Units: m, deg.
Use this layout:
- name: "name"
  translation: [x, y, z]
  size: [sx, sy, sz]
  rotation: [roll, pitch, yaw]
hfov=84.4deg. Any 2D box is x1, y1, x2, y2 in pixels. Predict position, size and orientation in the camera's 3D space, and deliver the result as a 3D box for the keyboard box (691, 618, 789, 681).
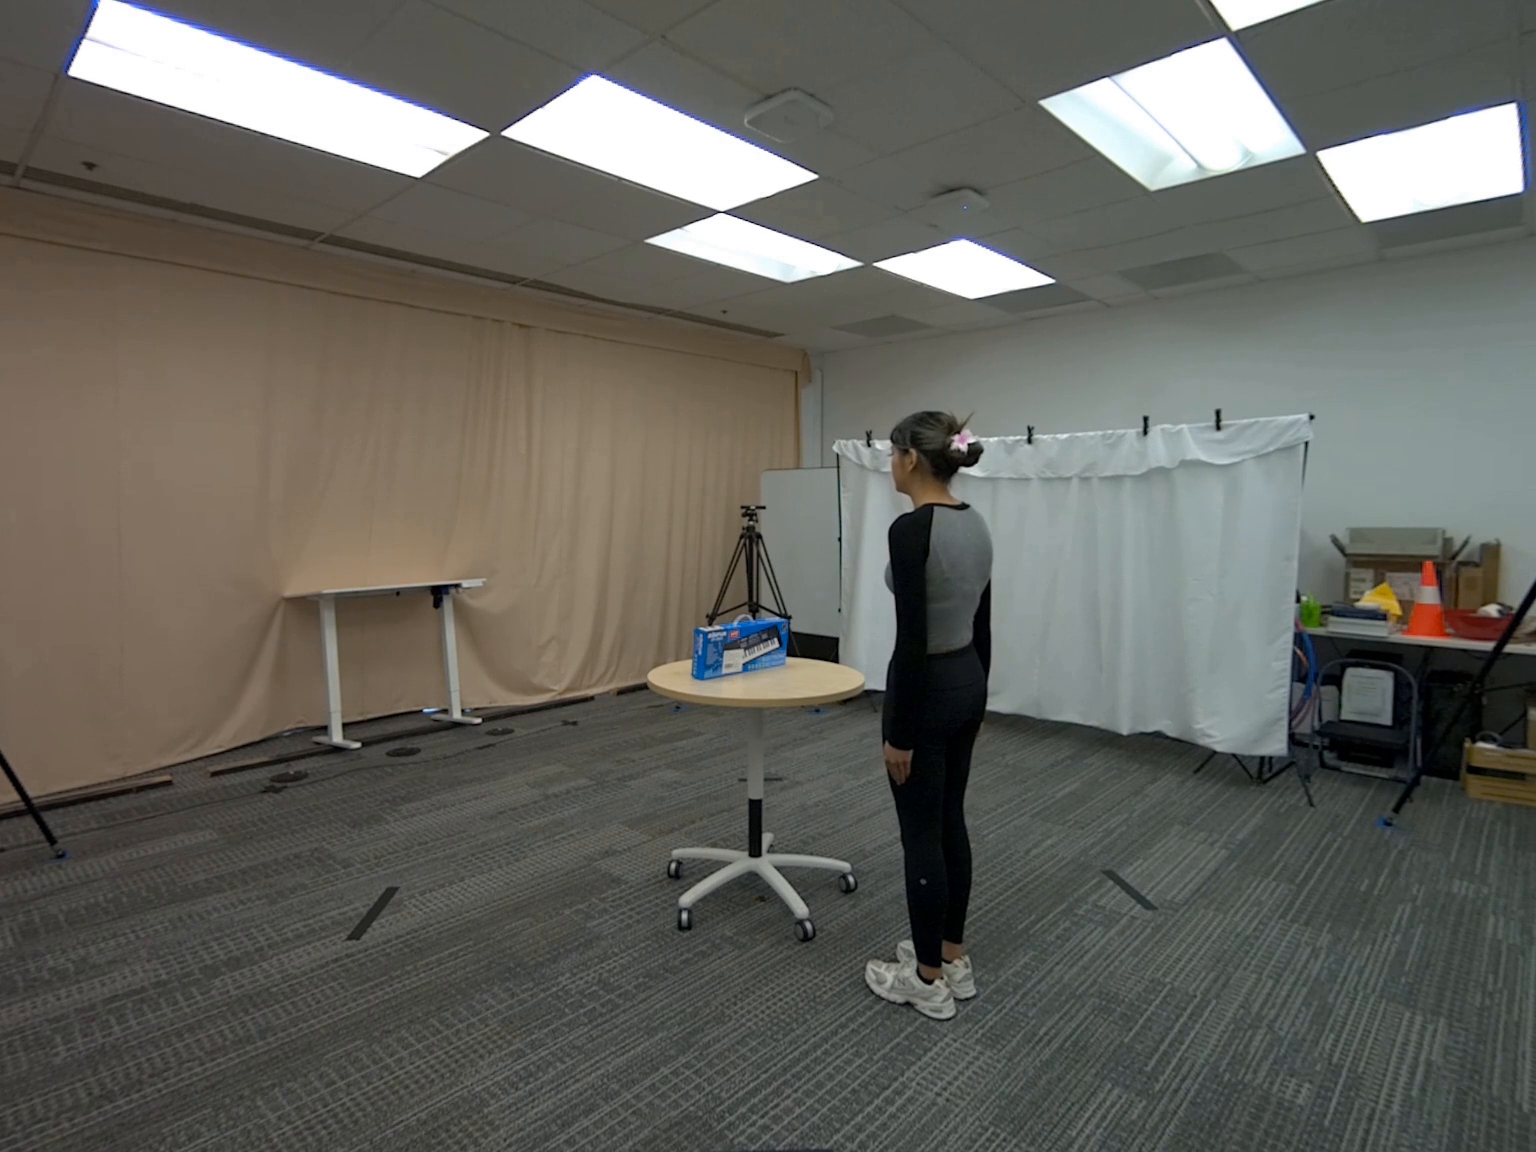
- name: "keyboard box"
  translation: [-0.092, 0.260, 3.043]
  size: [0.061, 0.175, 0.423]
  rotation: [10, 10, 43]
